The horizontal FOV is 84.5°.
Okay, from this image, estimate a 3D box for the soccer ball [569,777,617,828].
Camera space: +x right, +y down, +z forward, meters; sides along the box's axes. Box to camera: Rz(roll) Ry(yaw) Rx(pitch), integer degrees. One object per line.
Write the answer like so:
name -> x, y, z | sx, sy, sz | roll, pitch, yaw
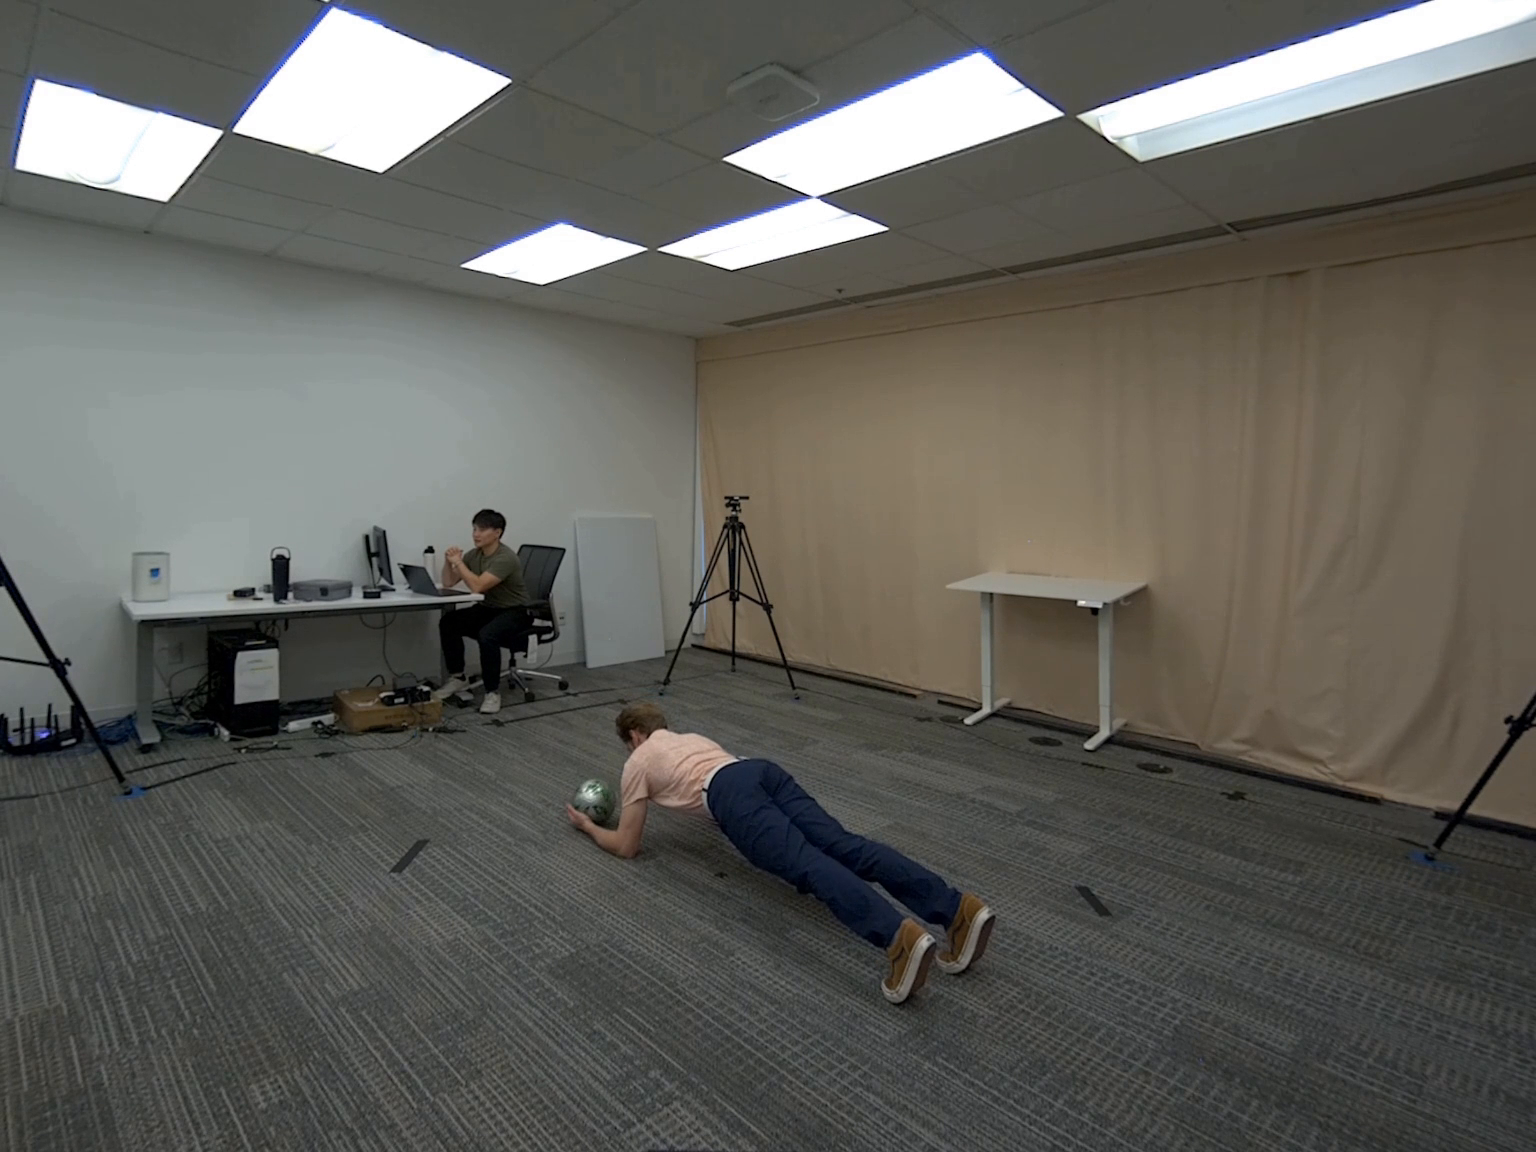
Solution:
soccer ball -> -0.721, 0.954, 3.558 | 0.187, 0.187, 0.188 | 1, 4, -1
